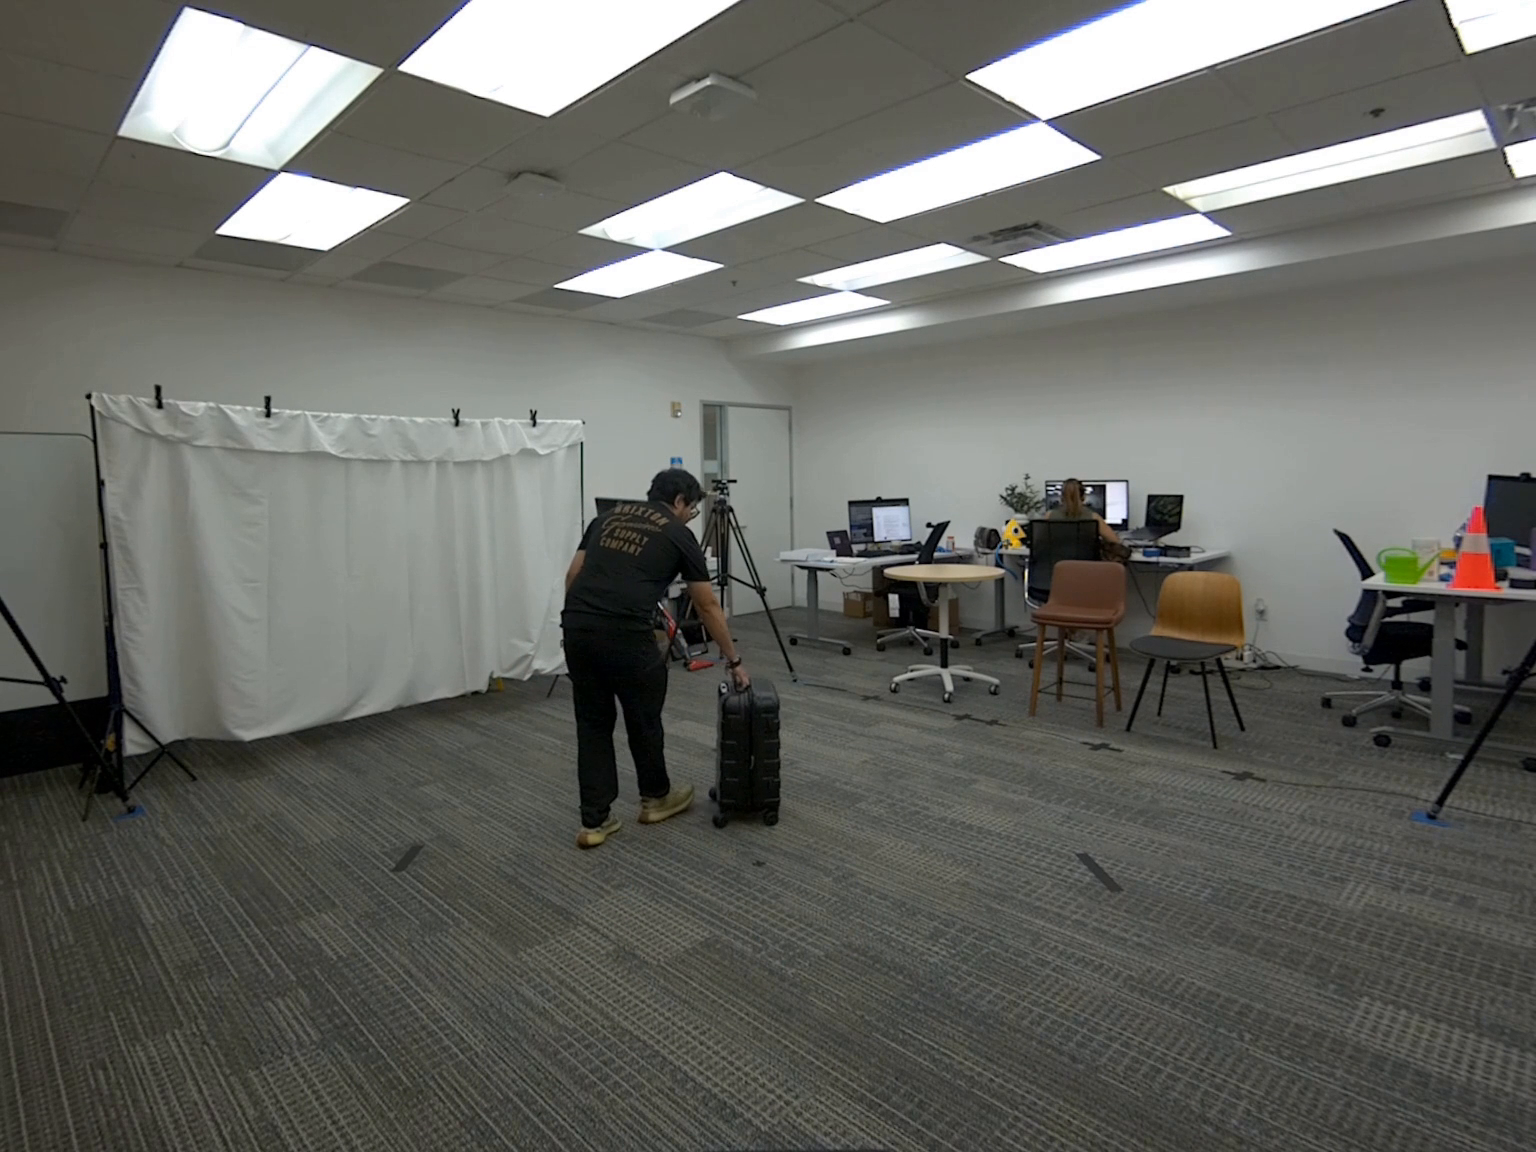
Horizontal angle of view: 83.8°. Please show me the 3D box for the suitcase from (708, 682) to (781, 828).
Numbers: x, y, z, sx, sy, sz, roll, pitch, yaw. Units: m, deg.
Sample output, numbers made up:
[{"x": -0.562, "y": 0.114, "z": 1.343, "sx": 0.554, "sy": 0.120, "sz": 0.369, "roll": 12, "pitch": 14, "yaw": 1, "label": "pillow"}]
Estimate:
[{"x": -0.087, "y": 0.721, "z": 3.601, "sx": 0.247, "sy": 0.548, "sz": 0.377, "roll": 1, "pitch": 3, "yaw": -4, "label": "suitcase"}]
